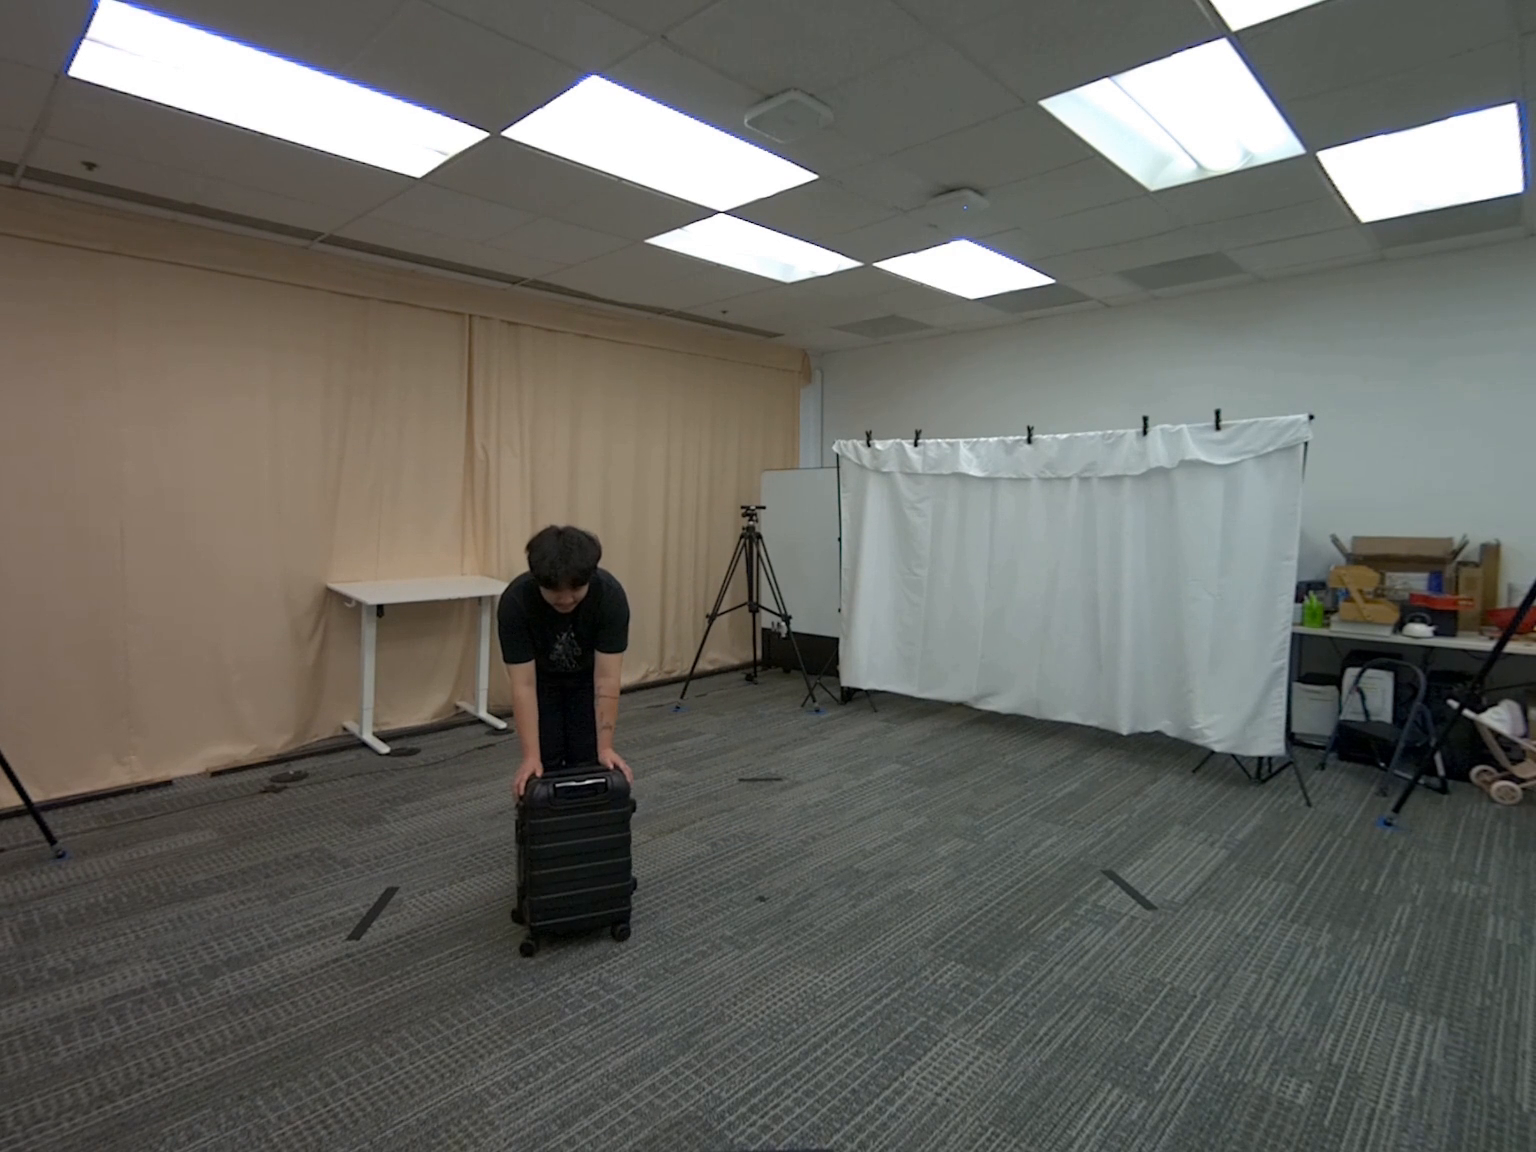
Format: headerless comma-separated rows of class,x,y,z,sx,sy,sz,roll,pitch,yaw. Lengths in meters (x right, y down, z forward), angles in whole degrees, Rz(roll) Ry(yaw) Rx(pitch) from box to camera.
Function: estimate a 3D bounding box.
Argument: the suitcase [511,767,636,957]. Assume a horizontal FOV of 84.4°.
suitcase,-0.641,0.892,2.751,0.367,0.548,0.254,0,3,-22
